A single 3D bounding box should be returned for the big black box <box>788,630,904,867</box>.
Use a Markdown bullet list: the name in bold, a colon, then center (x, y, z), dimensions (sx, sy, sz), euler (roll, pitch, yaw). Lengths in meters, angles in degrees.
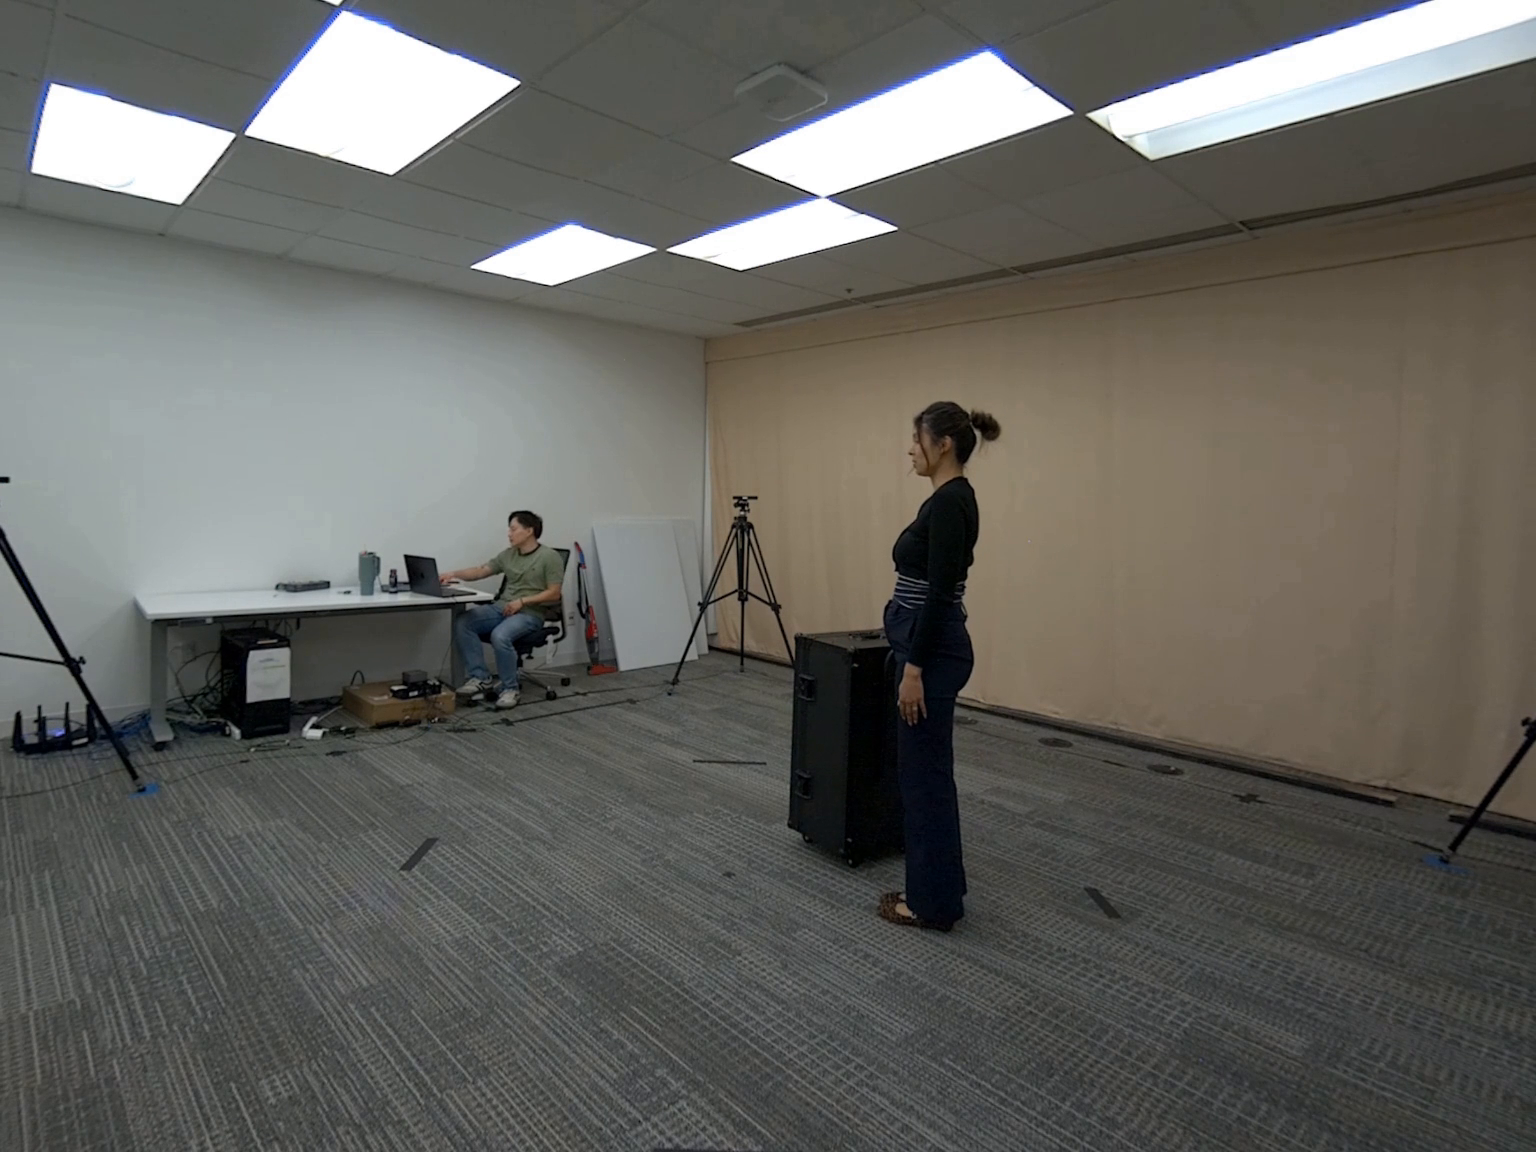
- **big black box**: center (0.393, 0.667, 3.347), dimensions (0.510, 0.859, 0.406), euler (0, 5, -33)
